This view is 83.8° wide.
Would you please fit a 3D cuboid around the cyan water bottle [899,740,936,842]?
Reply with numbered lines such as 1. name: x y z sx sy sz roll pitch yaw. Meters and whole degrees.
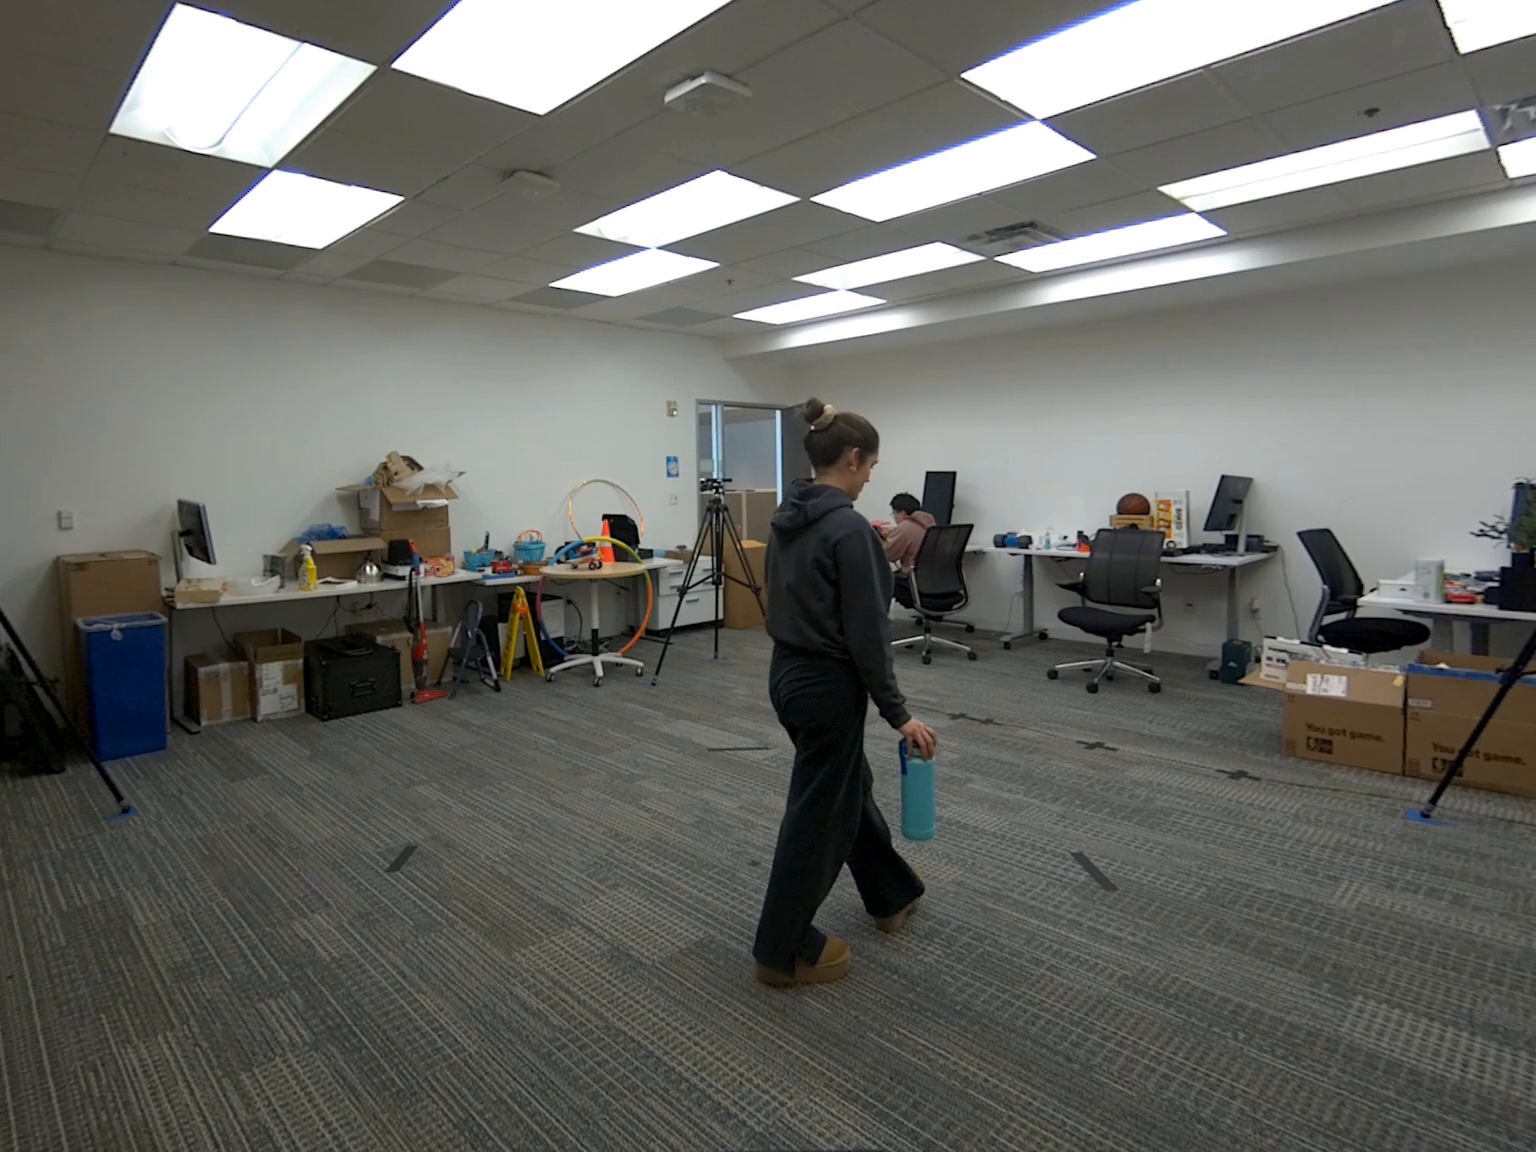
1. cyan water bottle: 0.395 0.551 2.279 0.092 0.282 0.093 -1 3 -2
